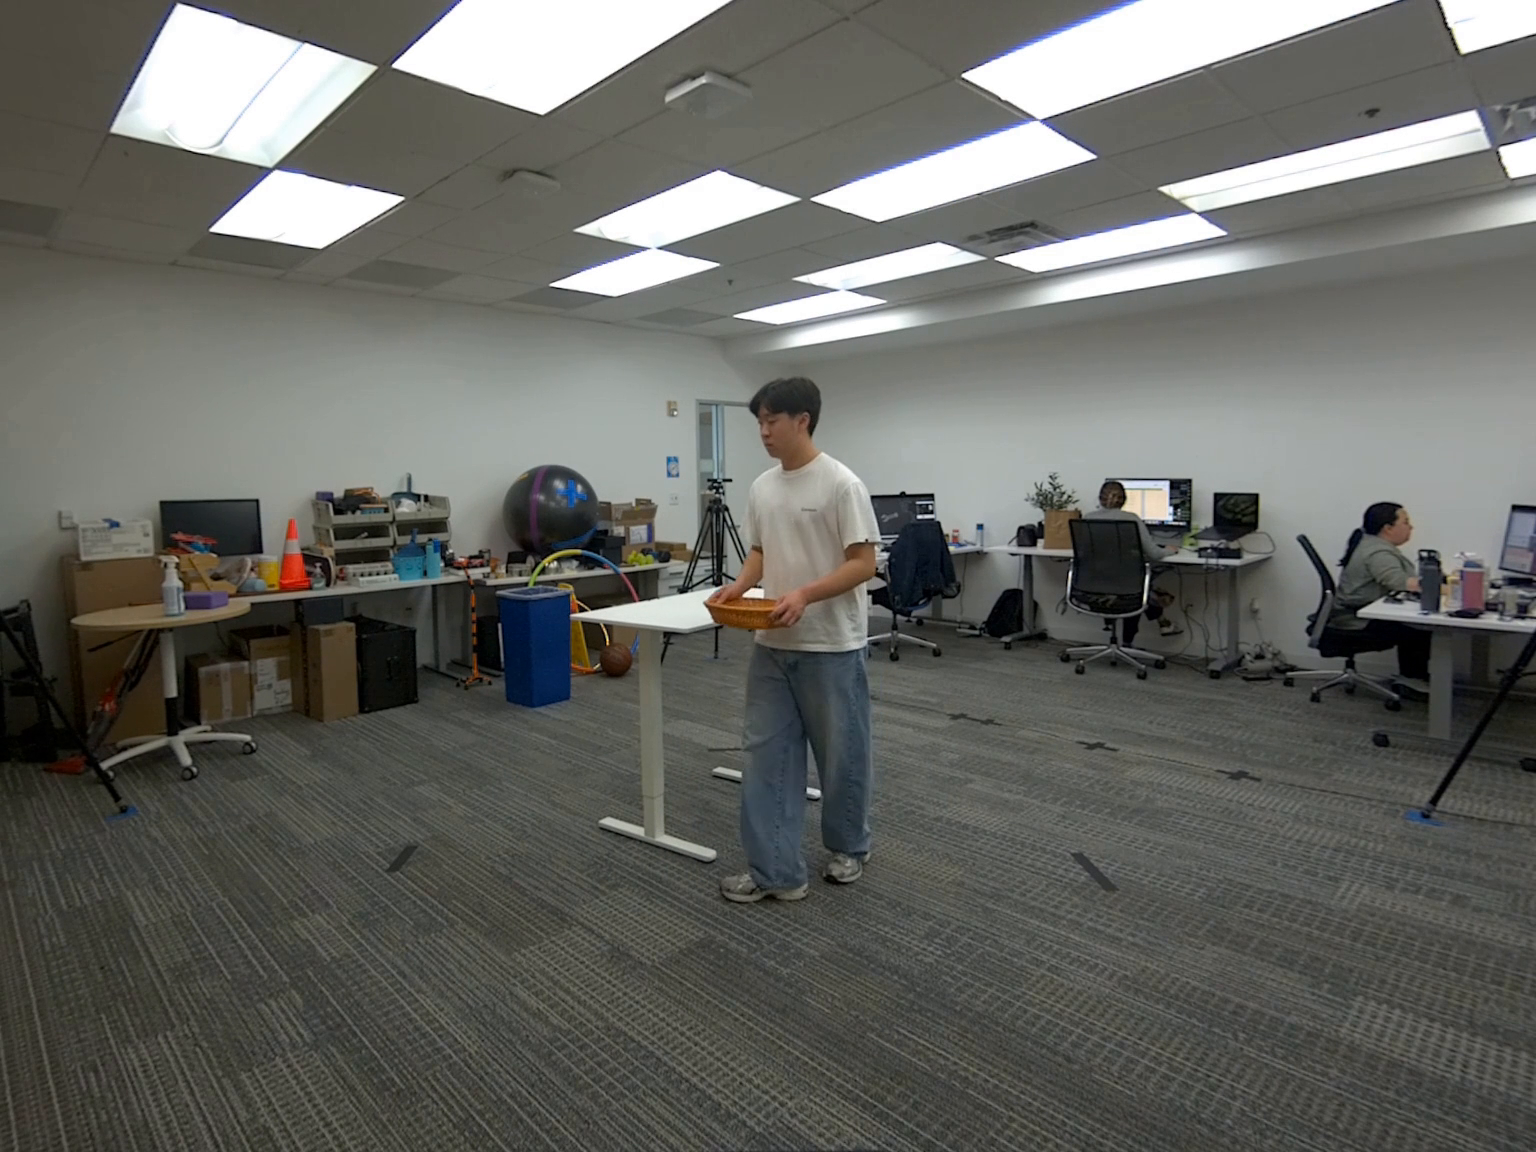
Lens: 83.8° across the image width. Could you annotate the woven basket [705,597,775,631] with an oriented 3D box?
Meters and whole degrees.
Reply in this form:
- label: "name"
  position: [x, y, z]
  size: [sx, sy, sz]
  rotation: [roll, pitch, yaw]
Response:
- label: "woven basket"
  position: [-0.036, 0.123, 2.754]
  size: [0.246, 0.073, 0.360]
  rotation: [-5, 6, -34]
